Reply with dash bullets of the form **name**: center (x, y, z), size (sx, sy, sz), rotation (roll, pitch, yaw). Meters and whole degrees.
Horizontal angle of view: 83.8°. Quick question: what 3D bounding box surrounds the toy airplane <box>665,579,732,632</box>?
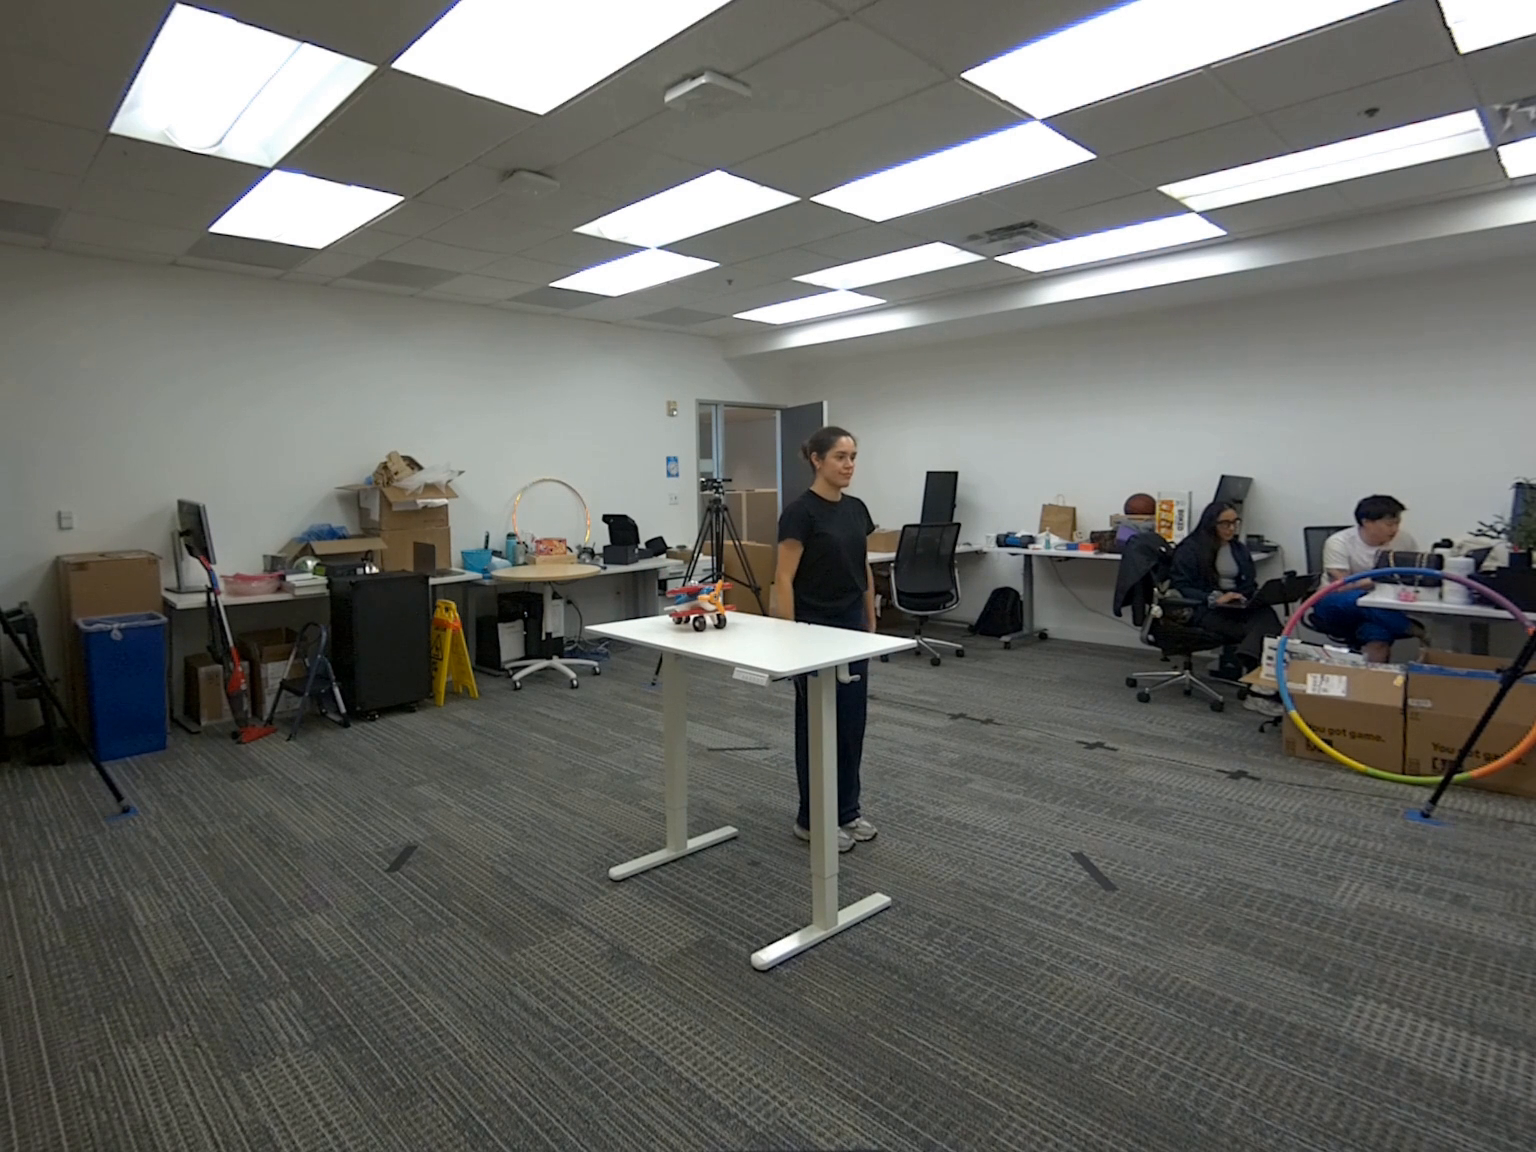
- **toy airplane**: center (-0.266, 0.102, 2.996), size (0.265, 0.156, 0.246), rotation (2, 6, 25)
